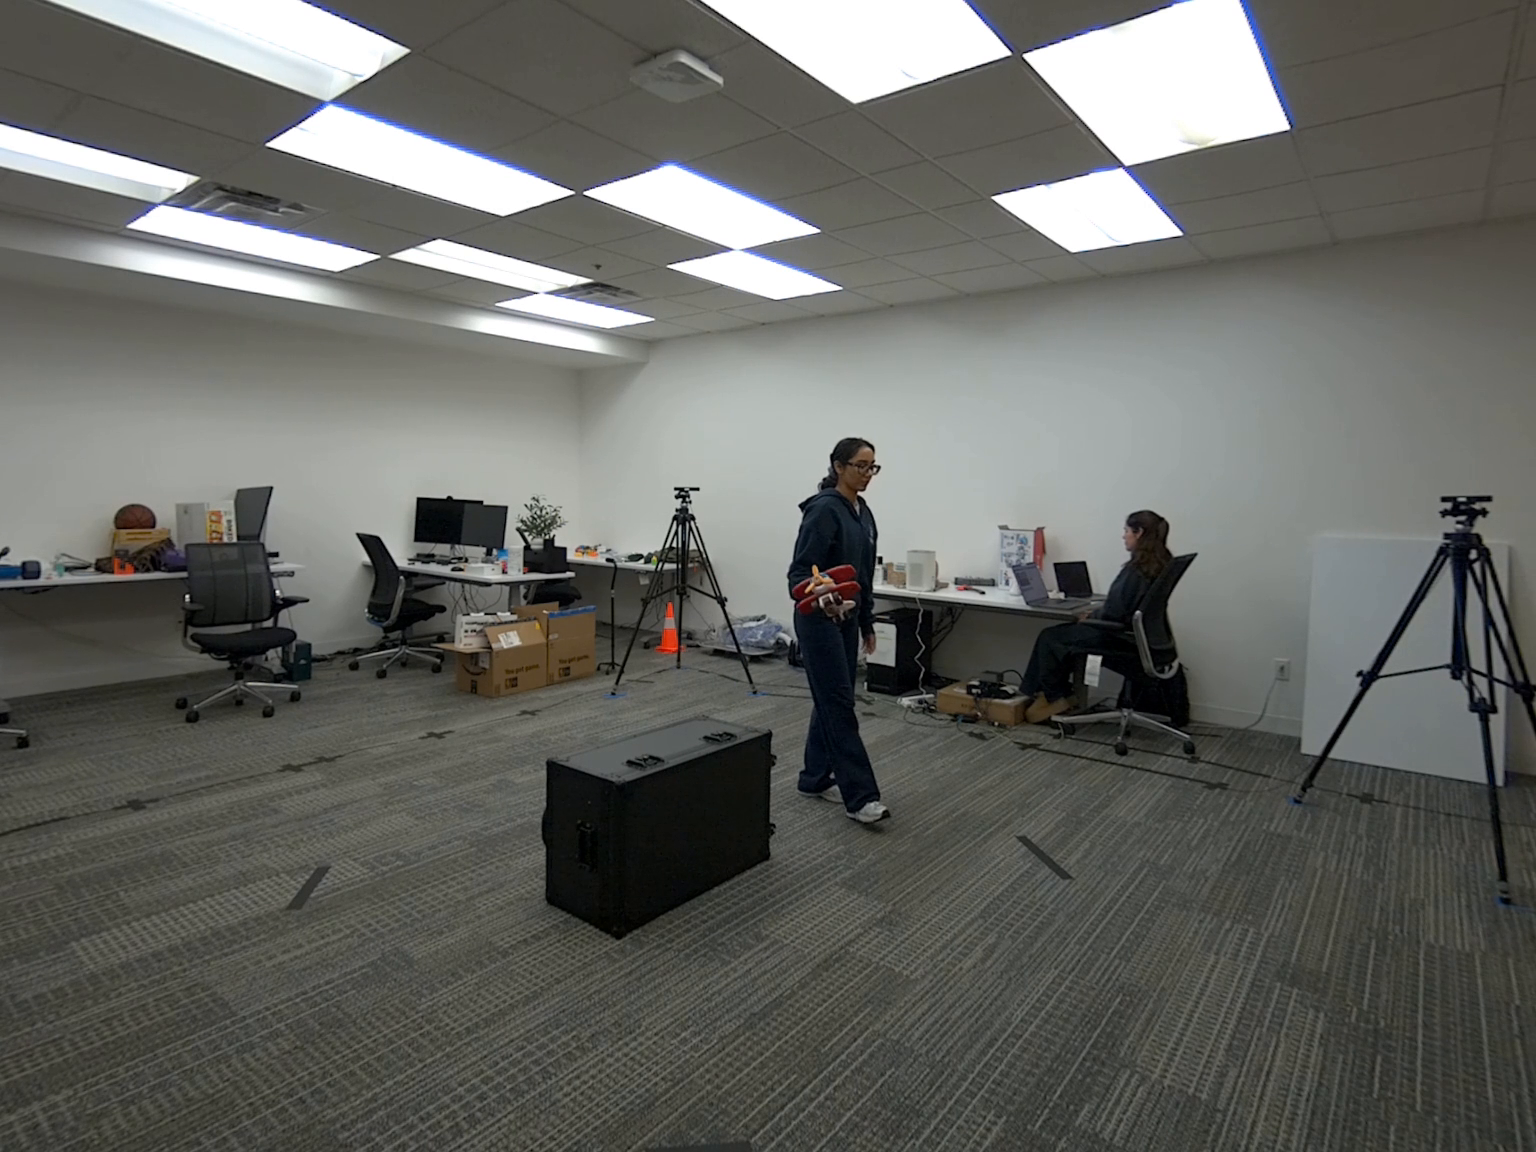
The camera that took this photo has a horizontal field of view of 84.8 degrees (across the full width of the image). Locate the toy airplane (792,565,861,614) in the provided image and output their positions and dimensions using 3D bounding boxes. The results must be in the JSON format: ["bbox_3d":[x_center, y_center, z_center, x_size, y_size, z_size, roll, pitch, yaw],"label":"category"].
[{"bbox_3d":[0.216,0.084,3.295,0.249,0.161,0.254,-11,-23,-10],"label":"toy airplane"}]
